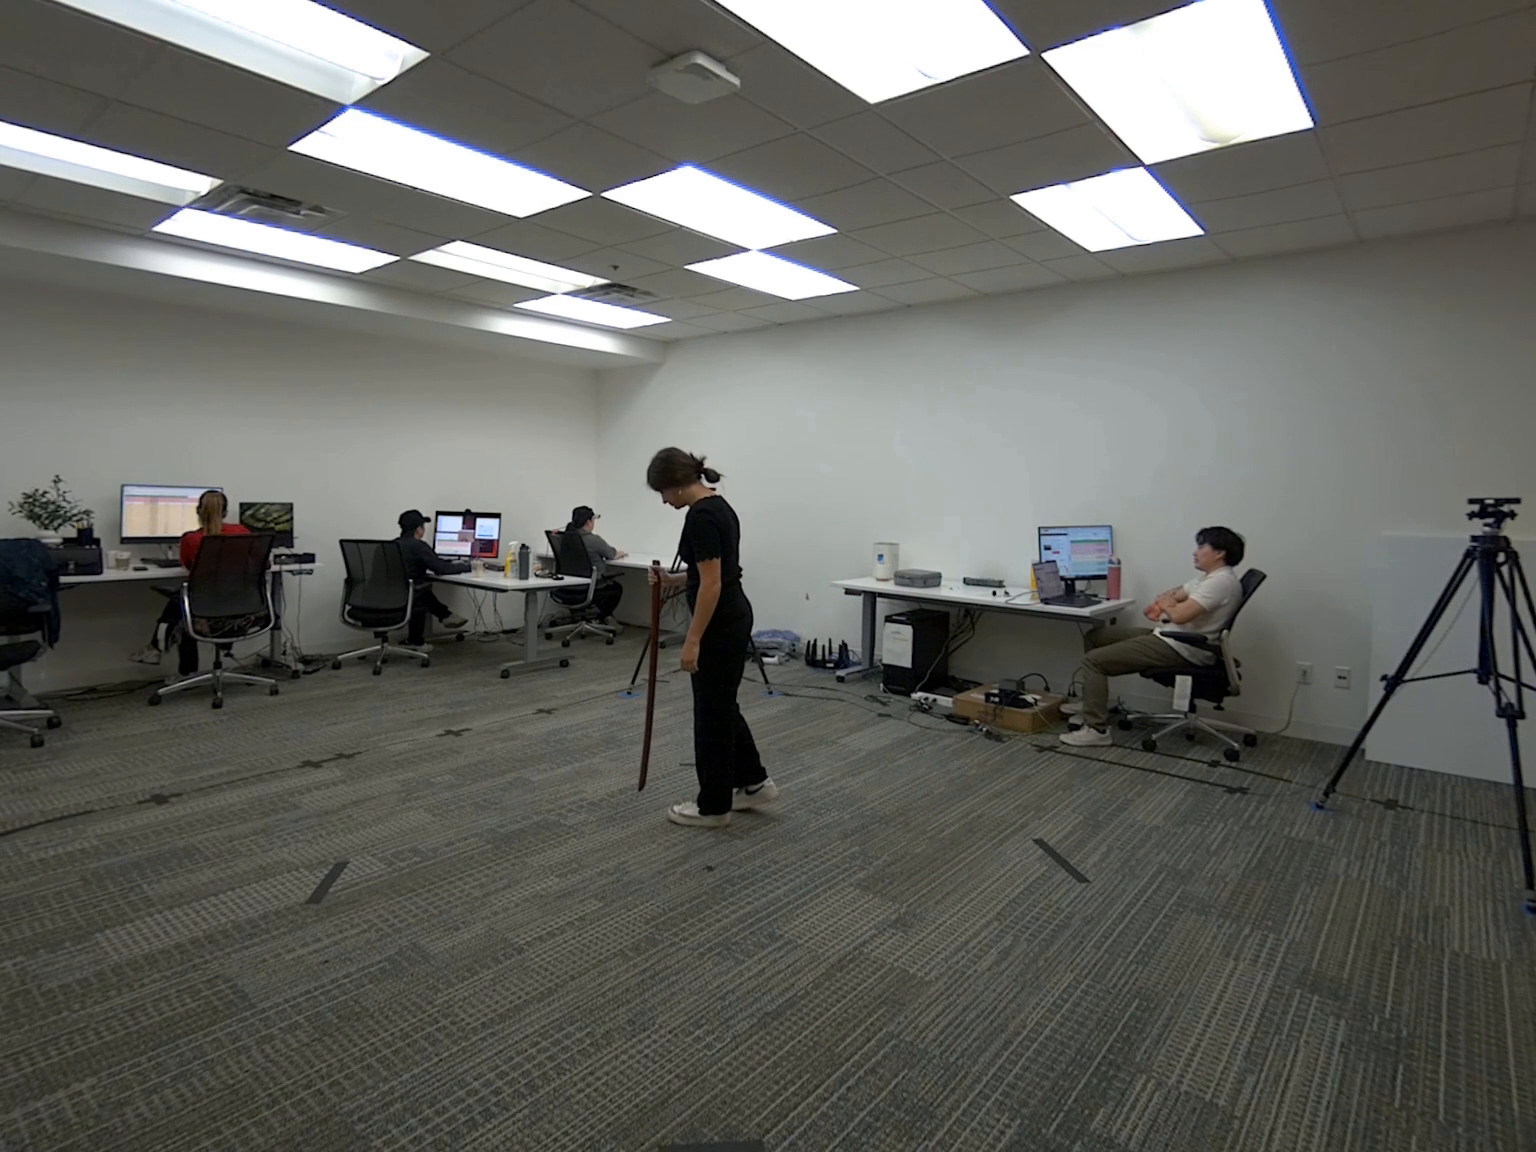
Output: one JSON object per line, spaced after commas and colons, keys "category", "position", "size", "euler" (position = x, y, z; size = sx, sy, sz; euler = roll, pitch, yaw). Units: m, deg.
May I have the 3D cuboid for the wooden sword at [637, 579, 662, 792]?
{"category": "wooden sword", "position": [-0.519, 0.467, 3.708], "size": [0.024, 1.021, 0.052], "euler": [4, 4, -13]}
